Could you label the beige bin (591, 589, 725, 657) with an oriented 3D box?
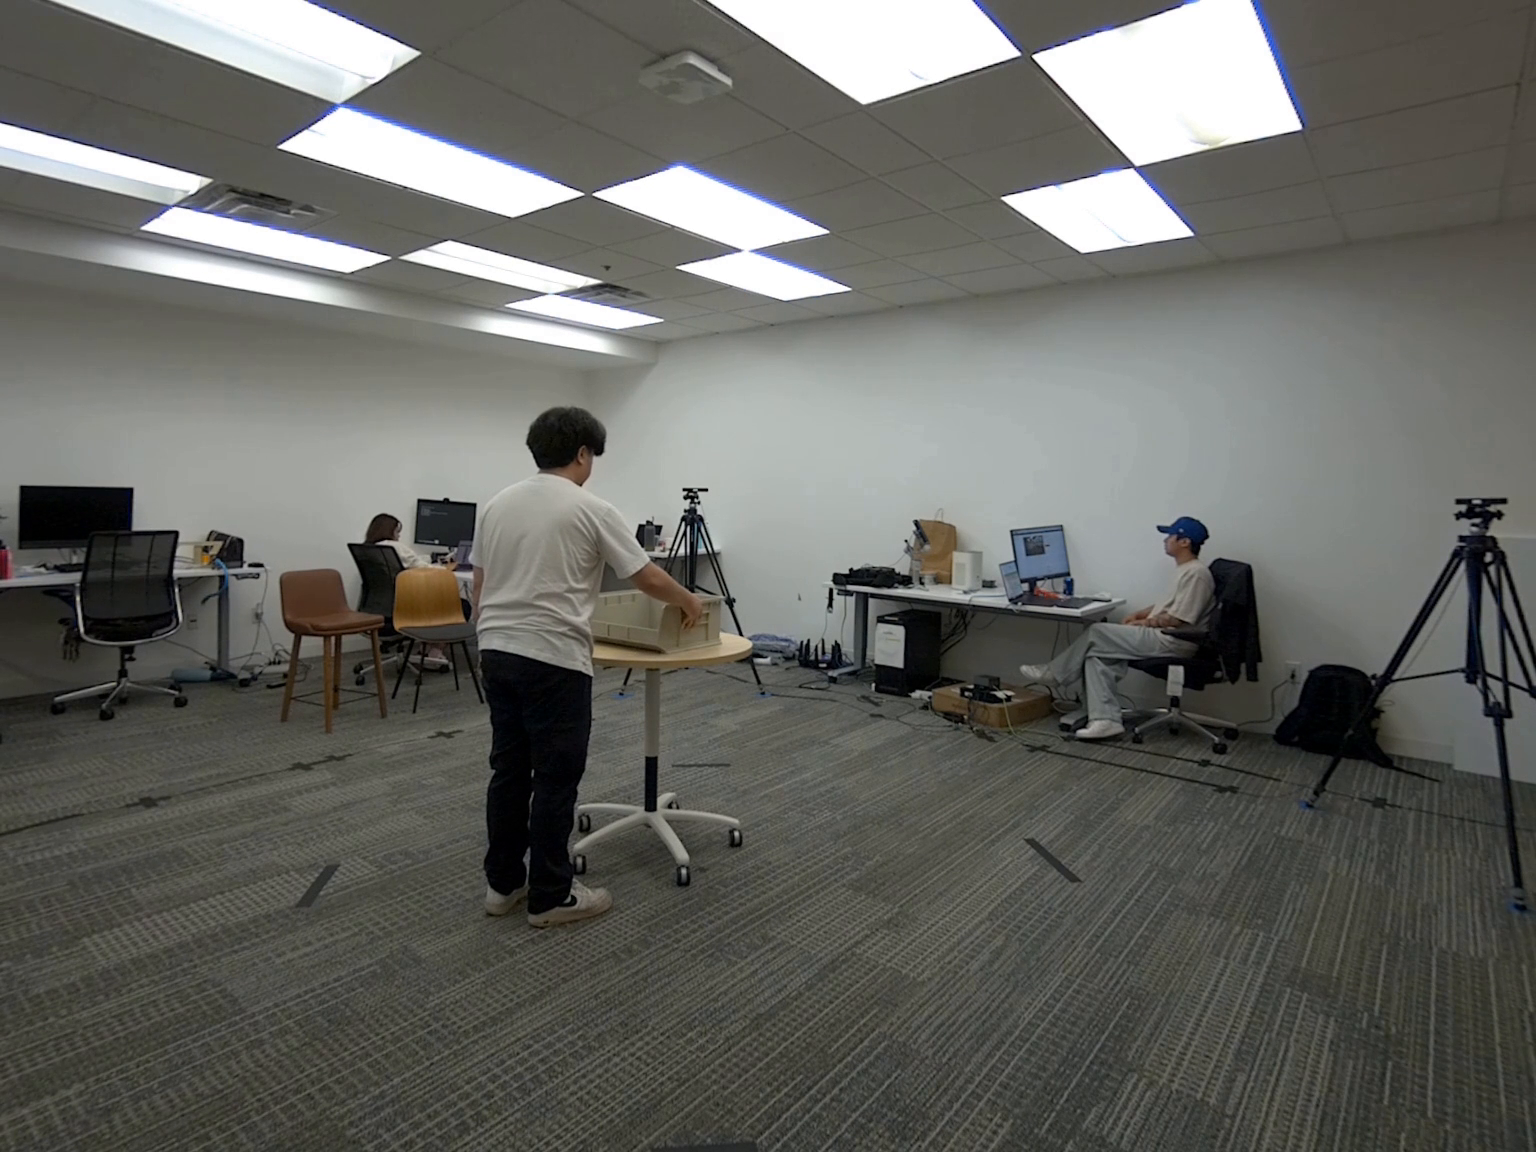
[{"bbox_3d":[-0.452,0.167,3.248,0.436,0.188,0.366,3,4,37],"label":"beige bin"}]
